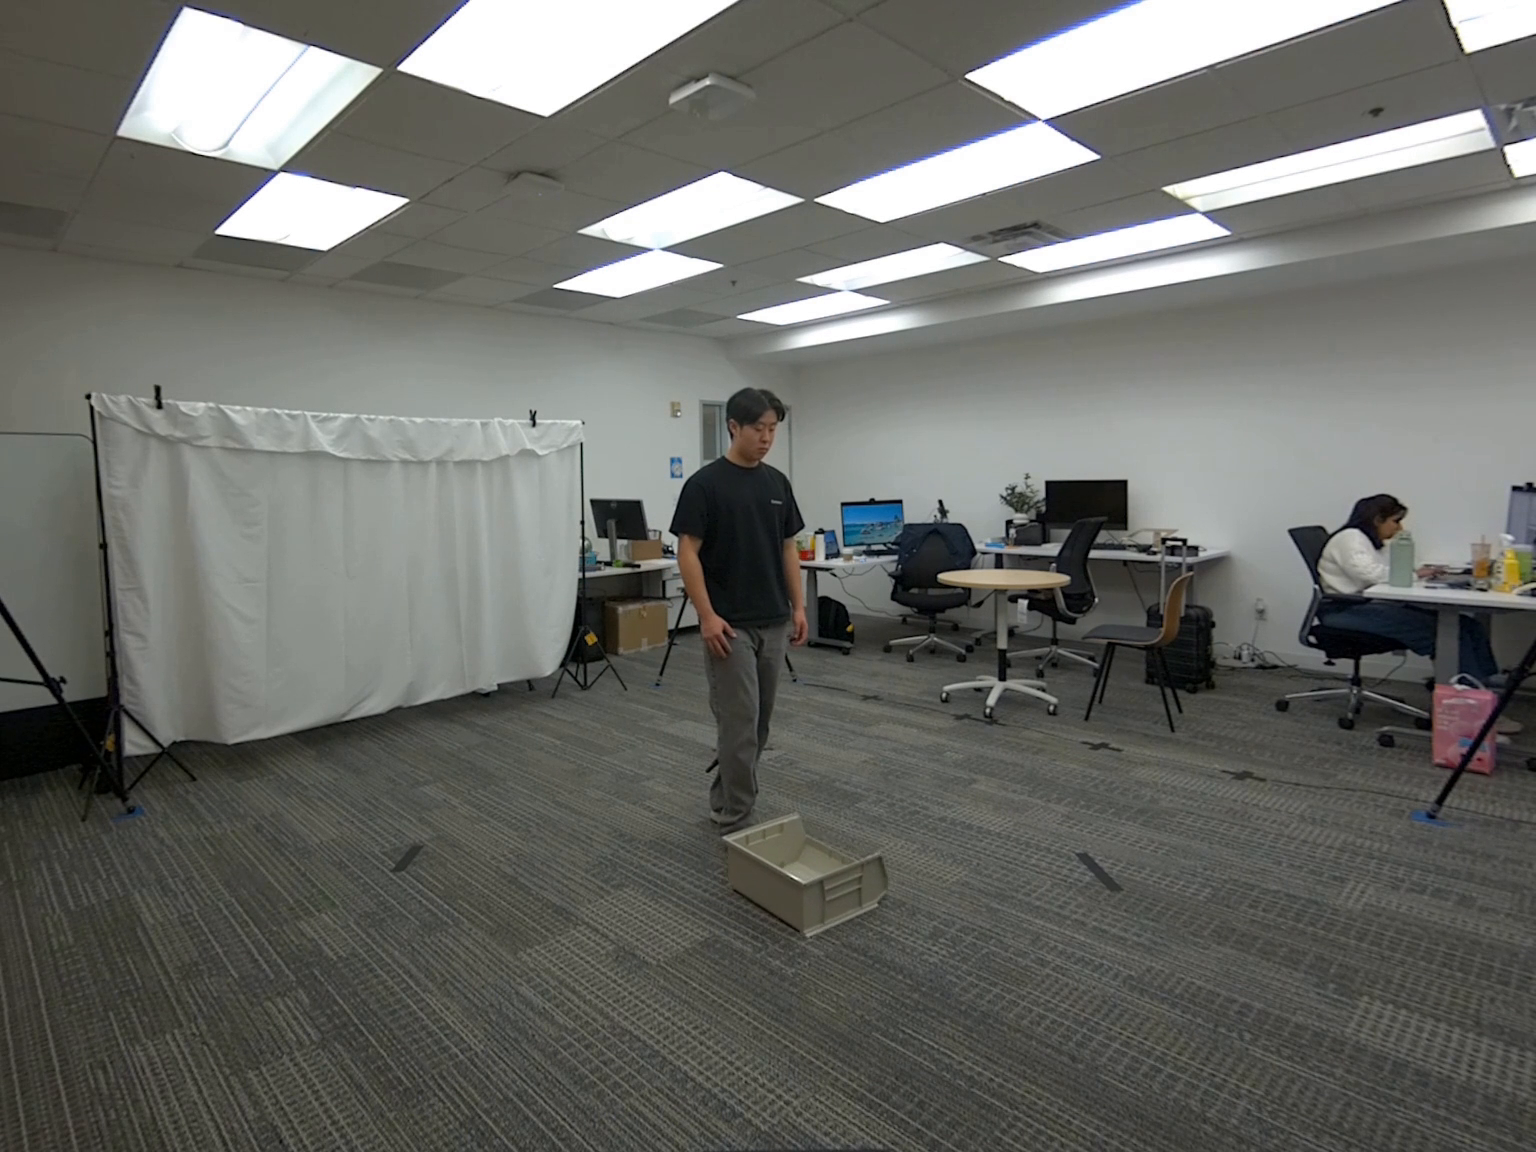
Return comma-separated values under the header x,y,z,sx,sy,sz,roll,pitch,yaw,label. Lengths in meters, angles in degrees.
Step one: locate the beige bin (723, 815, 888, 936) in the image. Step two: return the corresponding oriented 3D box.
x,y,z,sx,sy,sz,roll,pitch,yaw,label
0.125,0.984,2.858,0.368,0.188,0.435,-8,10,-37,beige bin
